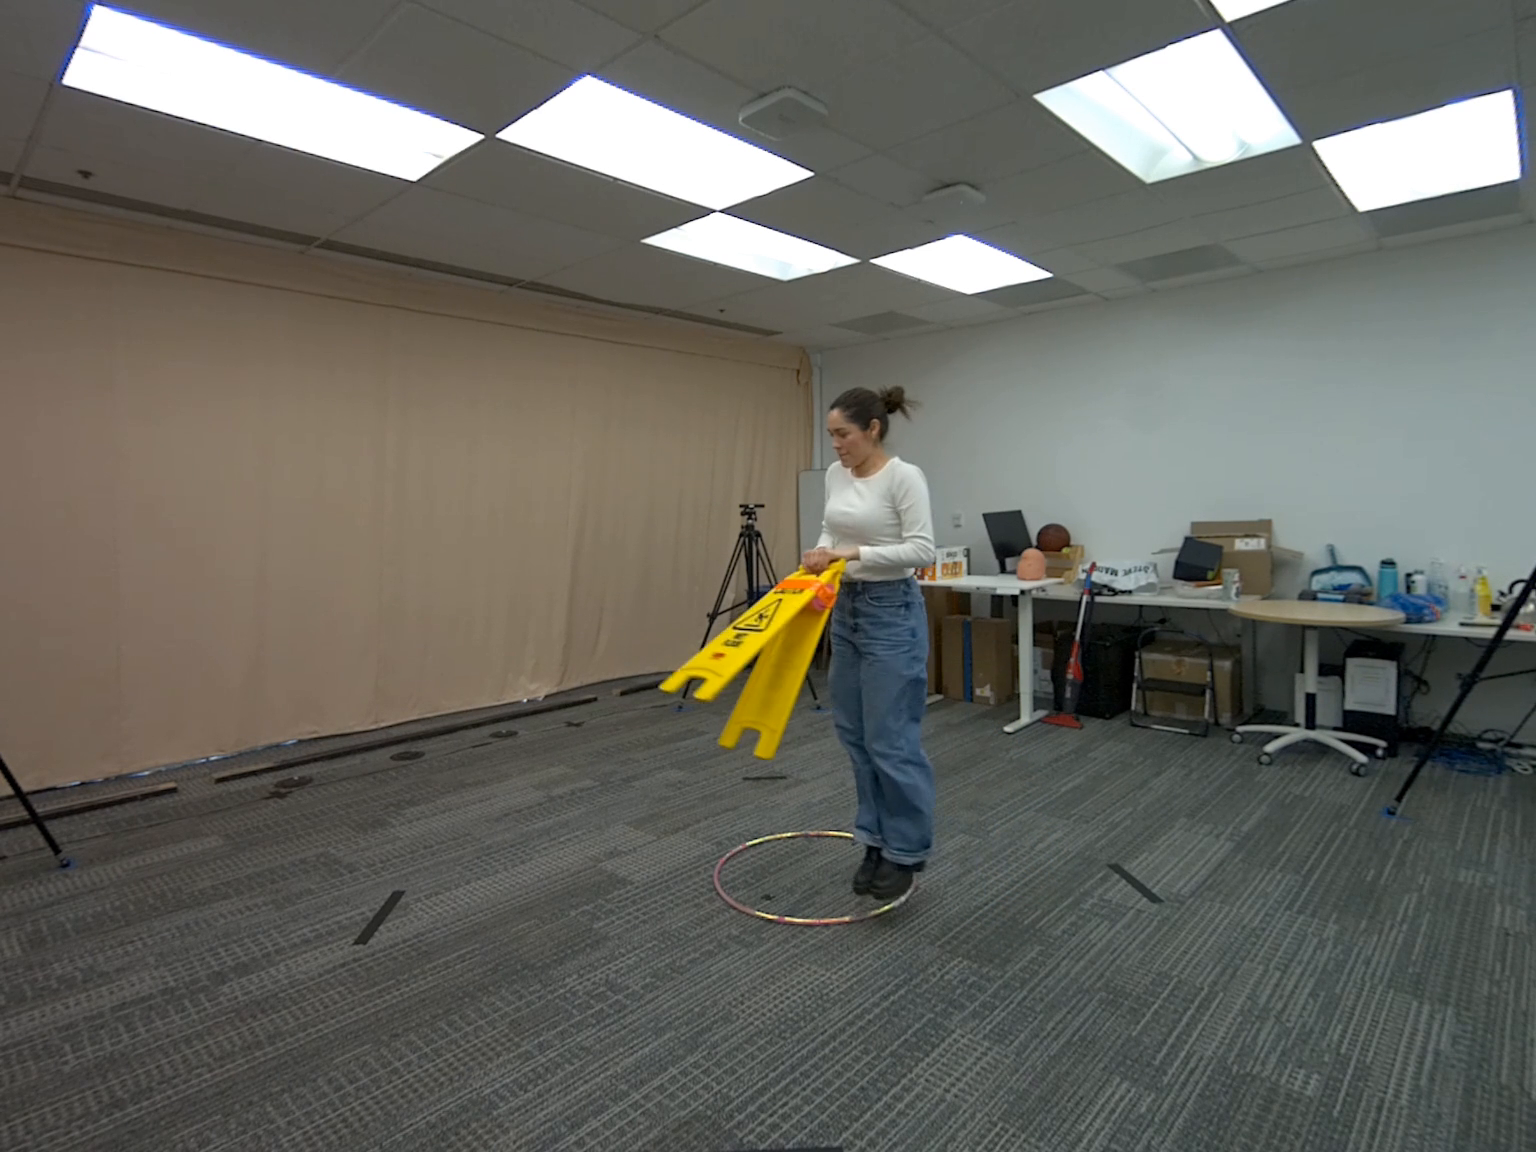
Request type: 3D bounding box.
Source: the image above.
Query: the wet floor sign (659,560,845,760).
[{"bbox_3d":[0.039,0.241,2.578,0.282,0.644,0.290,45,-25,-24],"label":"wet floor sign"}]
